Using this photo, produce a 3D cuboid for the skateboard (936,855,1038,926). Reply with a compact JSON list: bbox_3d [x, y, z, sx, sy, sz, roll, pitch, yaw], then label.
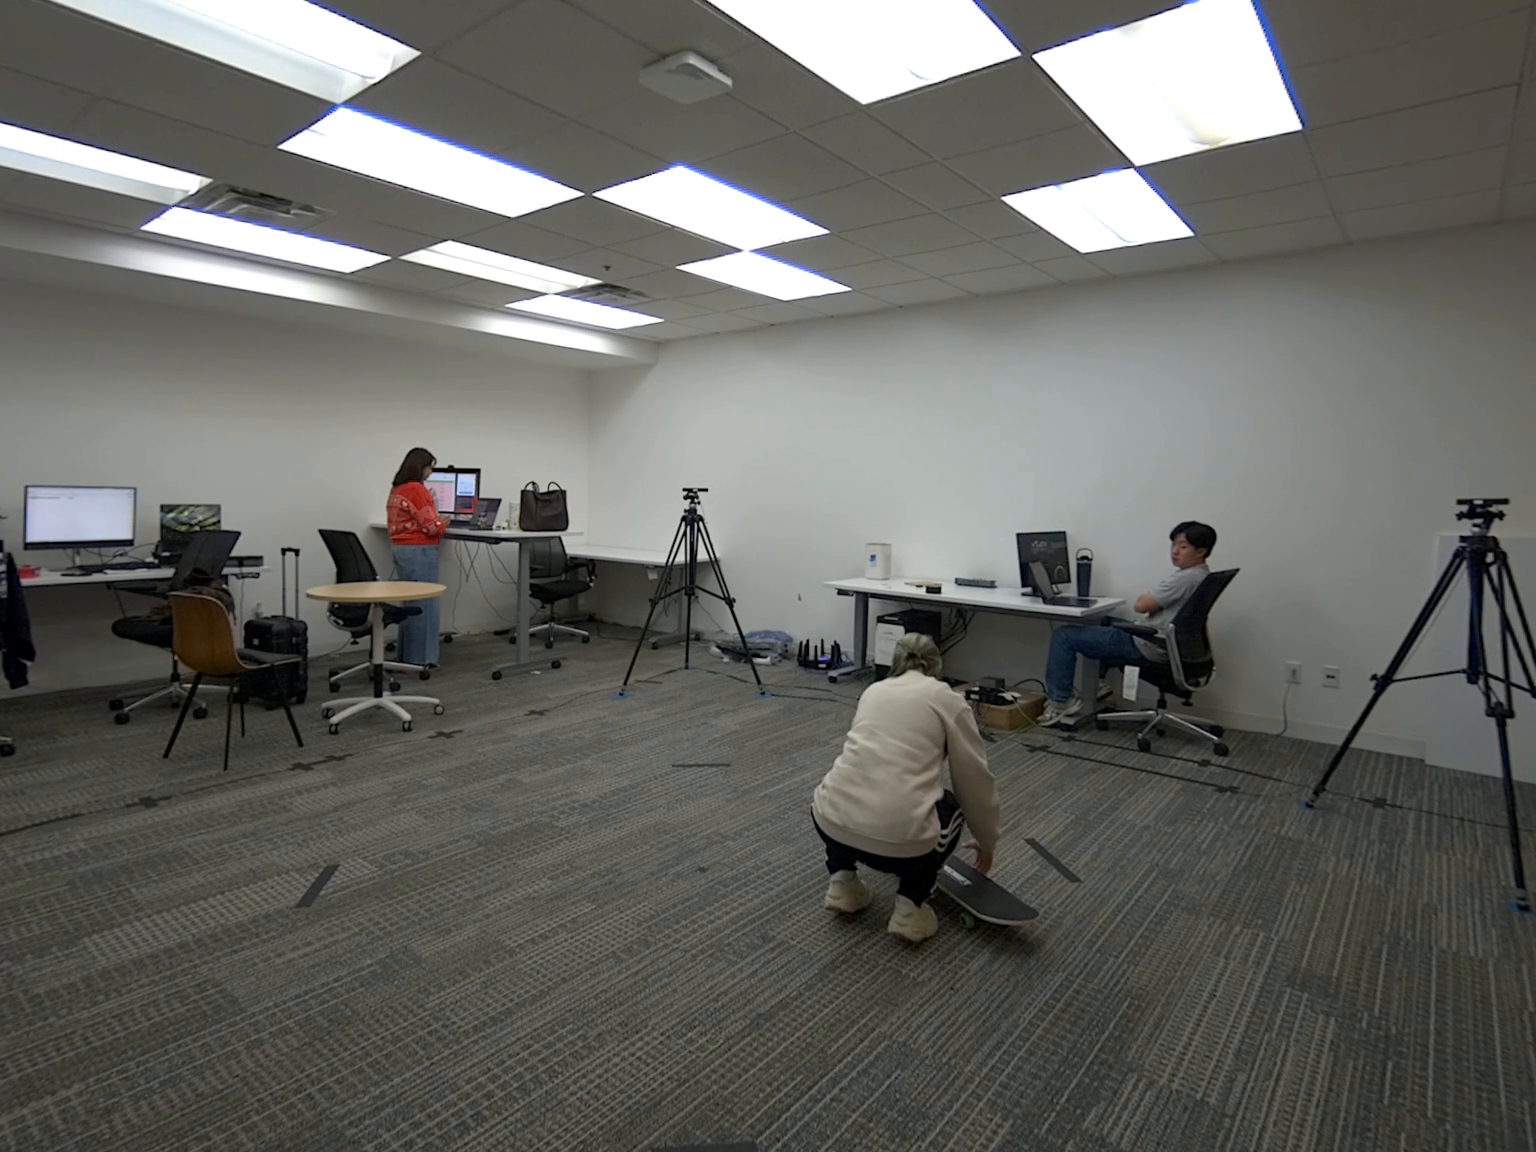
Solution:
[{"bbox_3d":[0.616,1.043,2.942,0.189,0.110,0.806,-1,6,-23],"label":"skateboard"}]
